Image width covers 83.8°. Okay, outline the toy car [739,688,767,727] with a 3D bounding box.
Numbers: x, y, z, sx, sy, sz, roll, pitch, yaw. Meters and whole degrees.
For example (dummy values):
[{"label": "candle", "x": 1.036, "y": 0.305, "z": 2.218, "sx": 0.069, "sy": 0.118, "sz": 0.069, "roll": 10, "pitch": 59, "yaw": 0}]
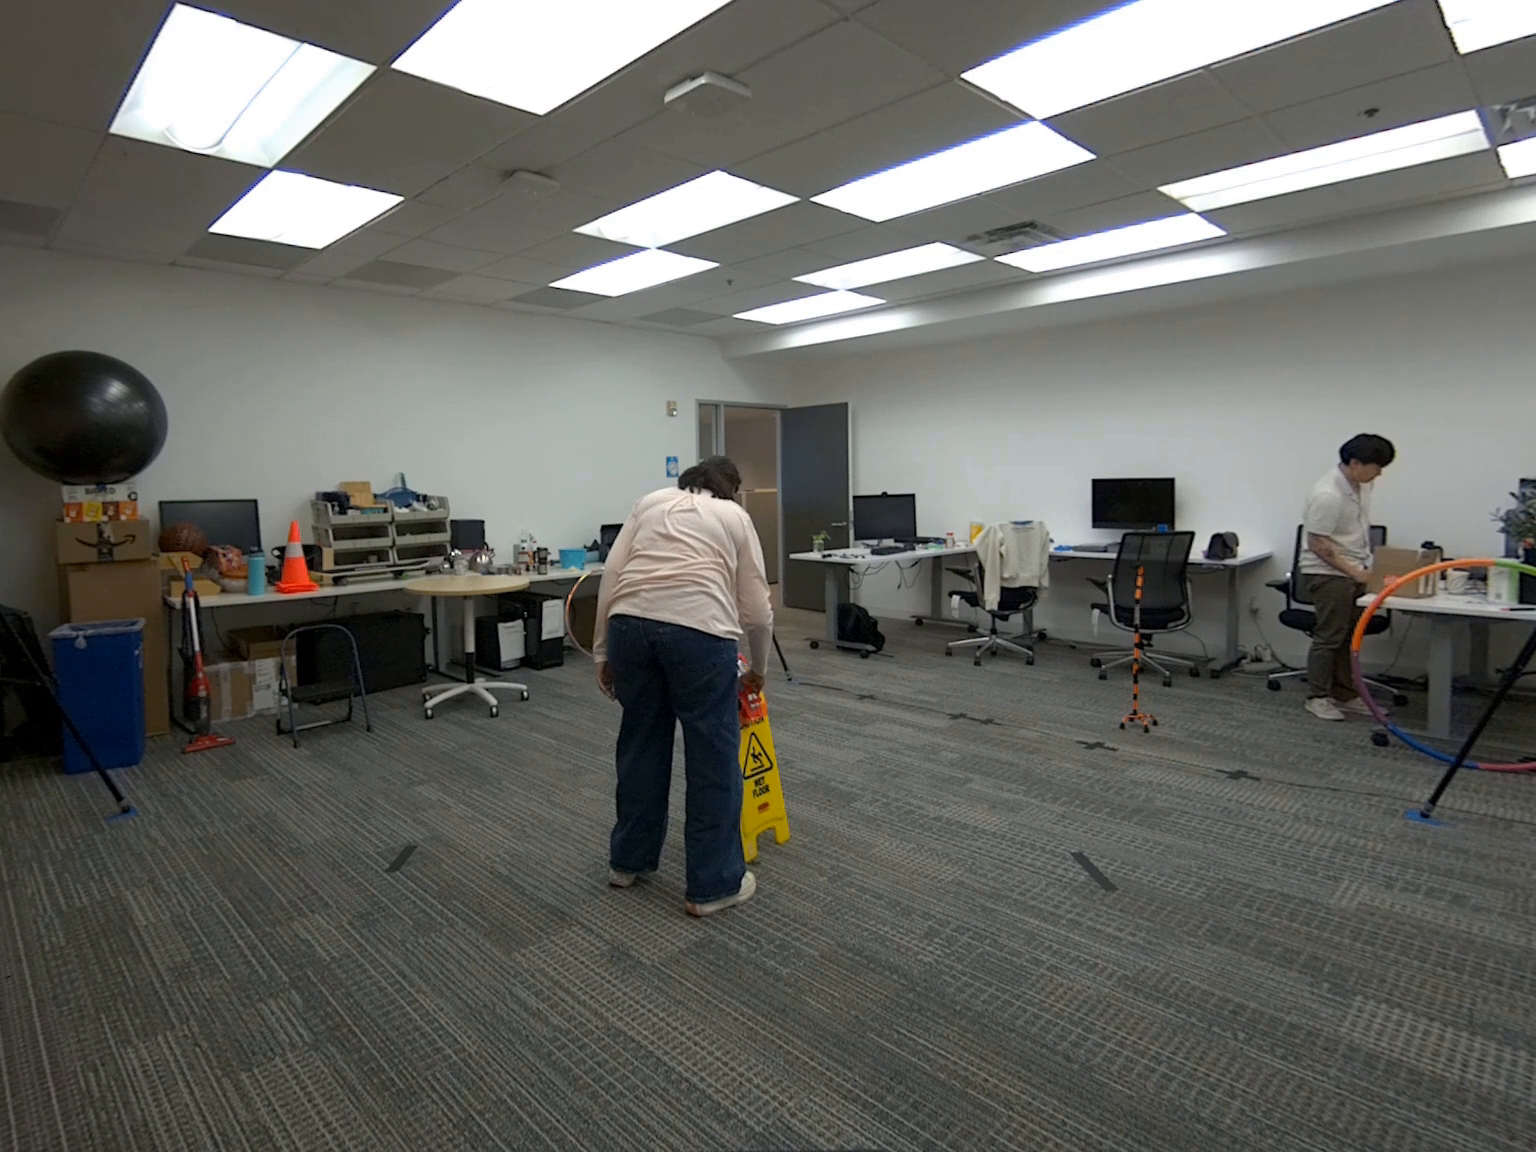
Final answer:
[{"label": "toy car", "x": -0.089, "y": 0.420, "z": 3.206, "sx": 0.127, "sy": 0.260, "sz": 0.083, "roll": -3, "pitch": -27, "yaw": -47}]
